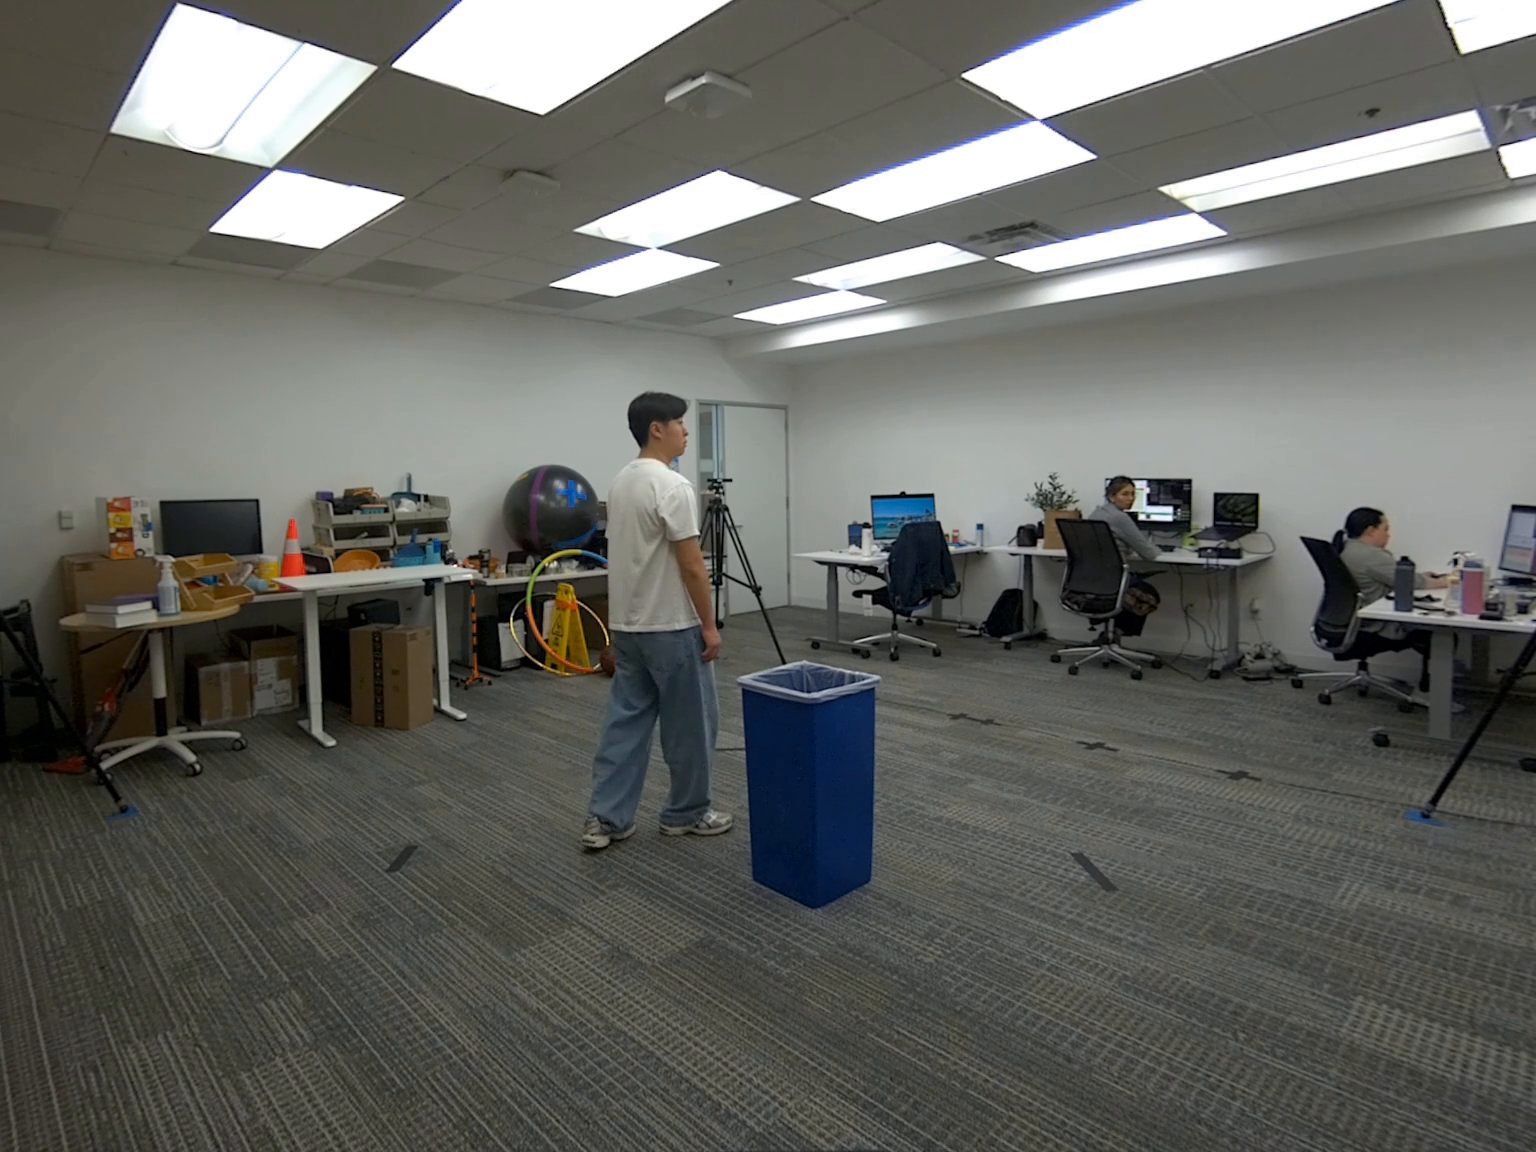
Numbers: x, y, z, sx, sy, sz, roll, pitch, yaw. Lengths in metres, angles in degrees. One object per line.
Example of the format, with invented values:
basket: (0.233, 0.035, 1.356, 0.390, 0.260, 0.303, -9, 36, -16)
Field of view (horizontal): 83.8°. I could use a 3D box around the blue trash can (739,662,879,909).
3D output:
blue trash can: (0.146, 0.702, 2.941, 0.364, 0.711, 0.389, -5, 5, -44)
